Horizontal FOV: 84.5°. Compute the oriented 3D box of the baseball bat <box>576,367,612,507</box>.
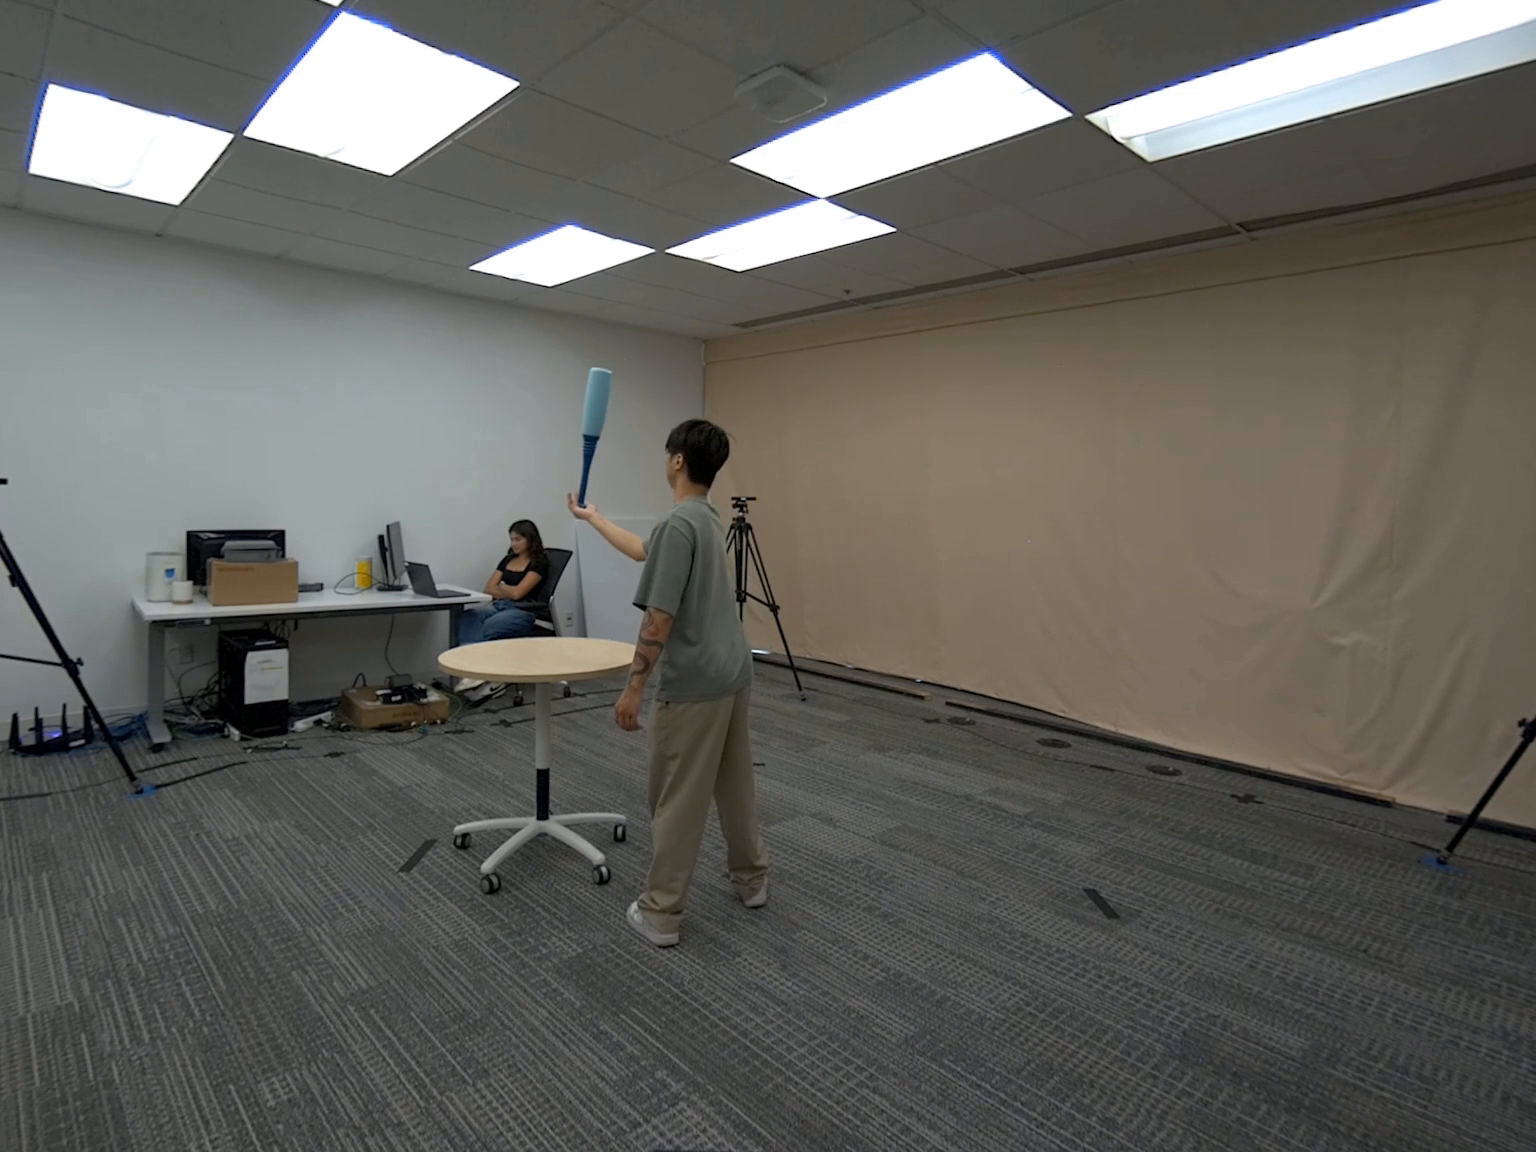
[{"bbox_3d":[-0.671,-0.515,3.188,0.089,0.540,0.090,9,9,-3],"label":"baseball bat"}]
